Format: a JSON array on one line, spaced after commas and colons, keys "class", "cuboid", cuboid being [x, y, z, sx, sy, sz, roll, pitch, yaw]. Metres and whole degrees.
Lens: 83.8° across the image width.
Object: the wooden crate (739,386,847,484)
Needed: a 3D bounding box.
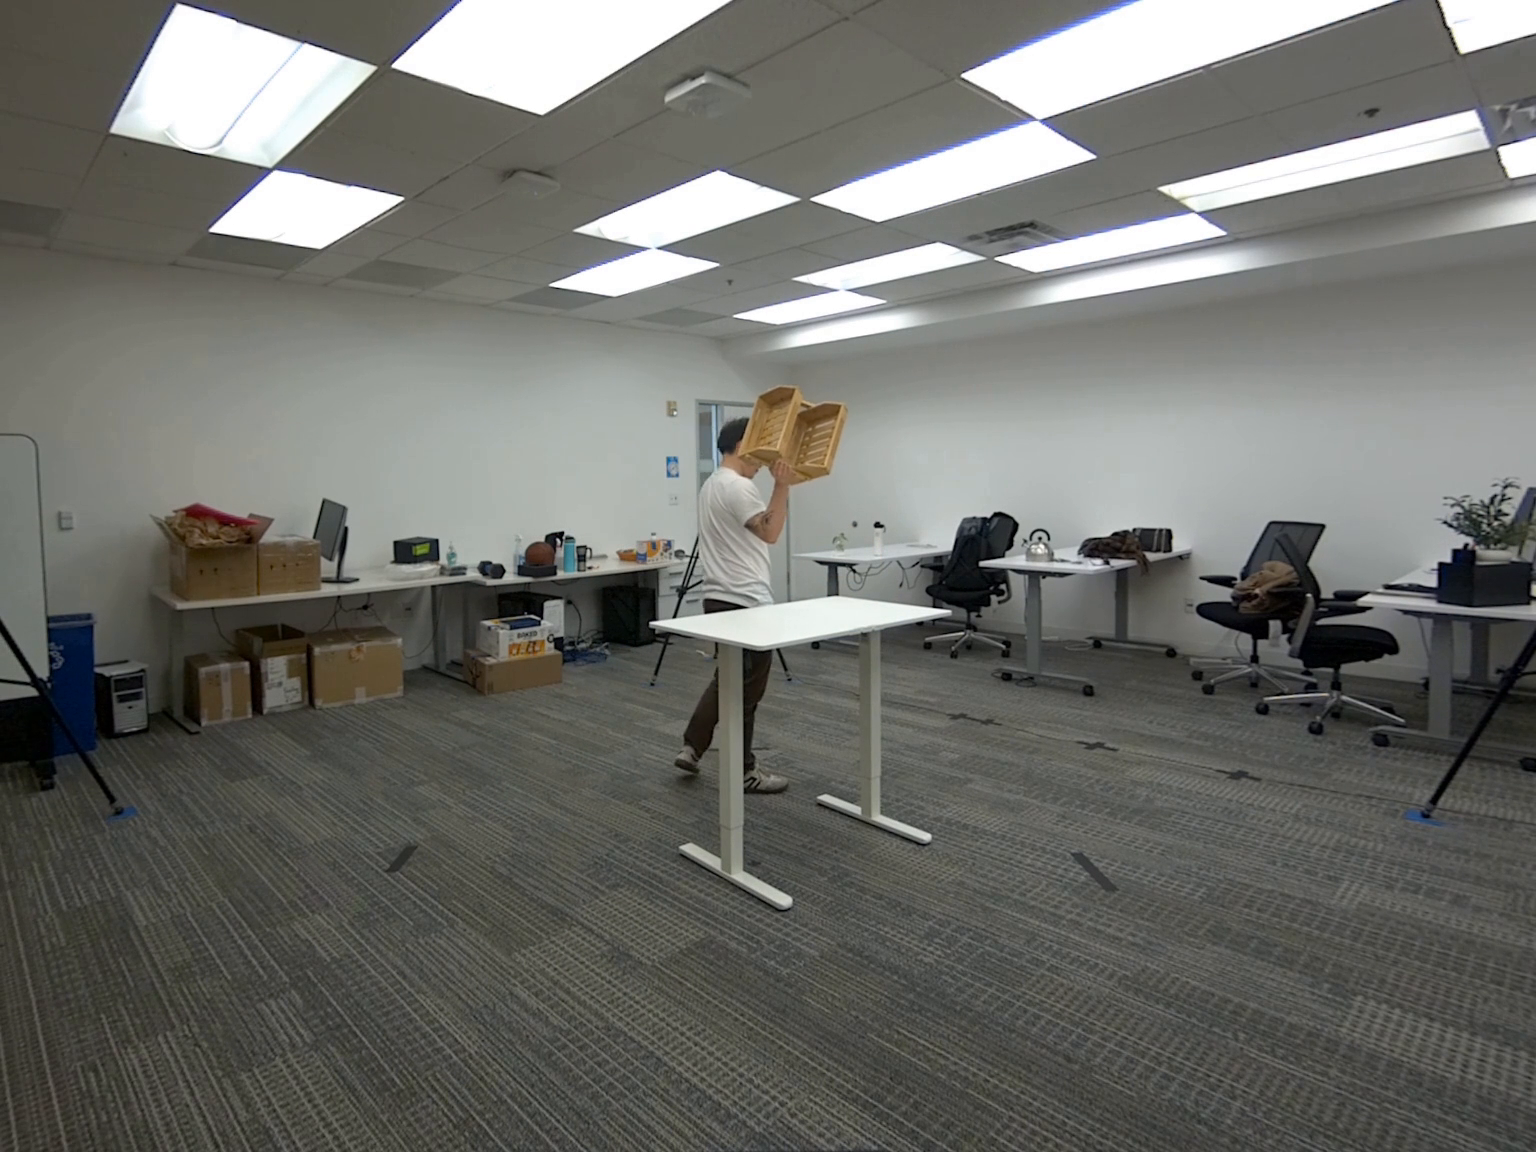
[{"class": "wooden crate", "cuboid": [0.099, -0.573, 3.401, 0.264, 0.328, 0.308, 32, -26, -30]}]
